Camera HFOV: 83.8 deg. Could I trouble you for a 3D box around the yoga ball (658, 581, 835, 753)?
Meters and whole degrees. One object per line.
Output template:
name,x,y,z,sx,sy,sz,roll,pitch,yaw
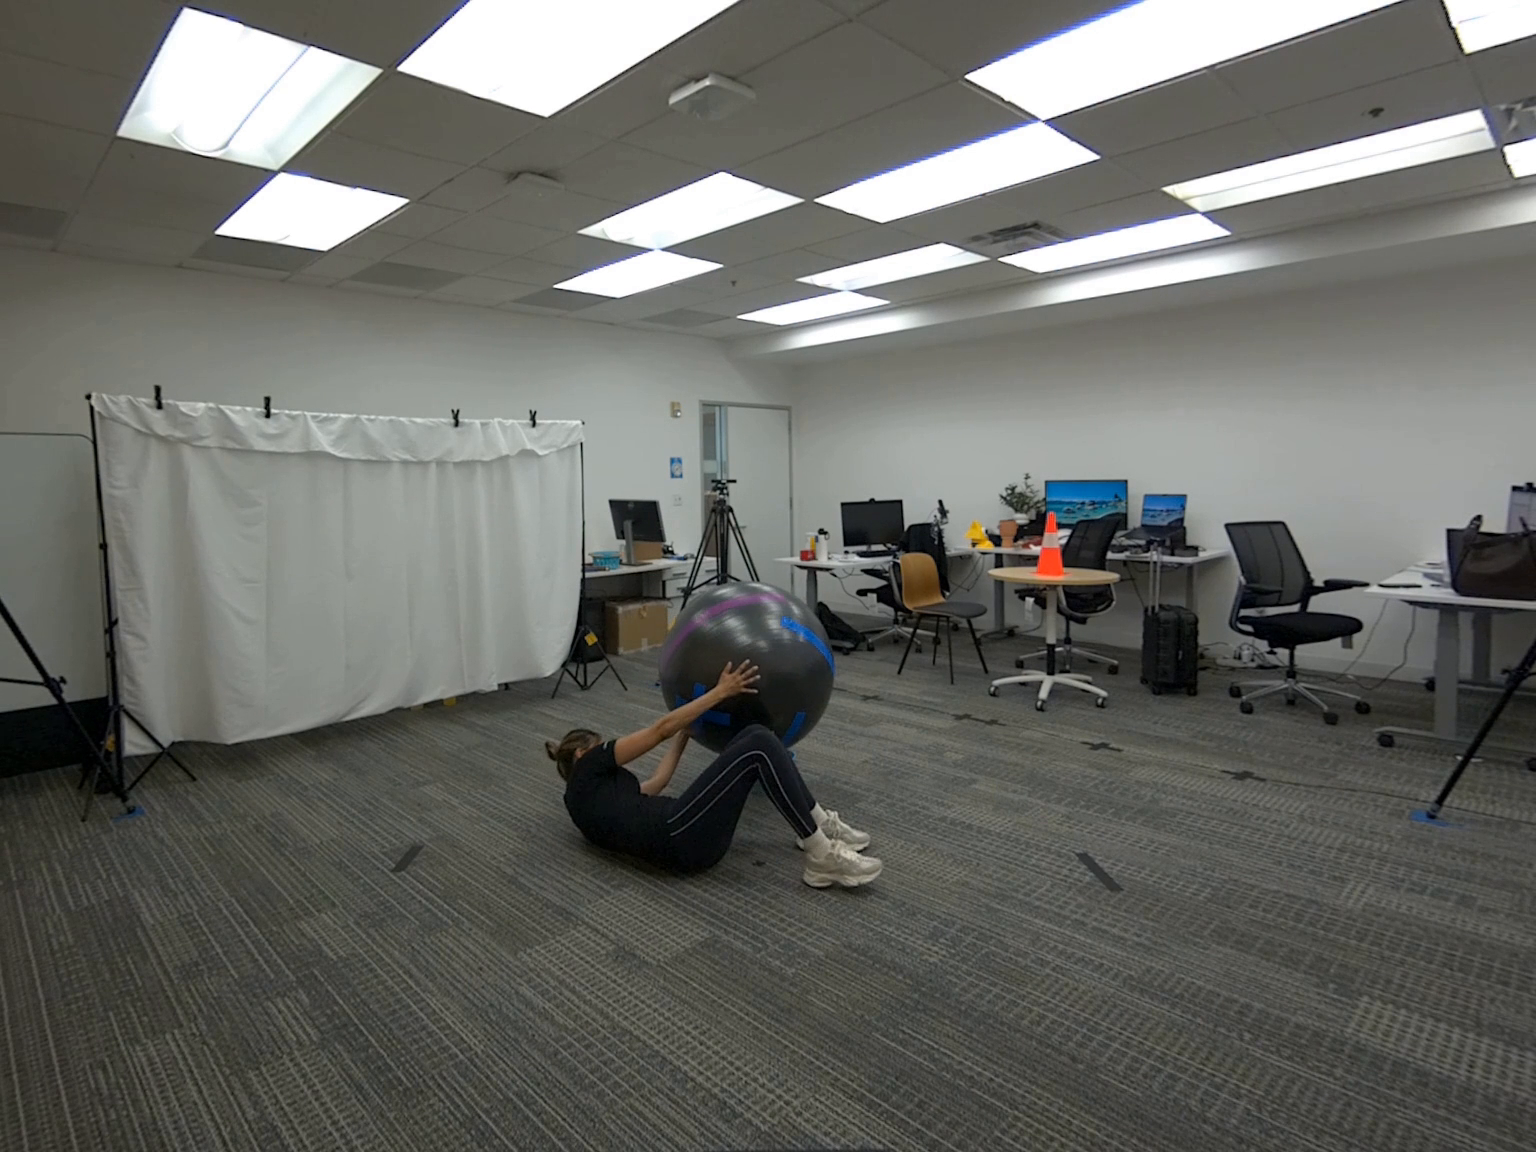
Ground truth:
yoga ball,-0.094,0.400,3.709,0.757,0.755,0.762,-1,5,-2
